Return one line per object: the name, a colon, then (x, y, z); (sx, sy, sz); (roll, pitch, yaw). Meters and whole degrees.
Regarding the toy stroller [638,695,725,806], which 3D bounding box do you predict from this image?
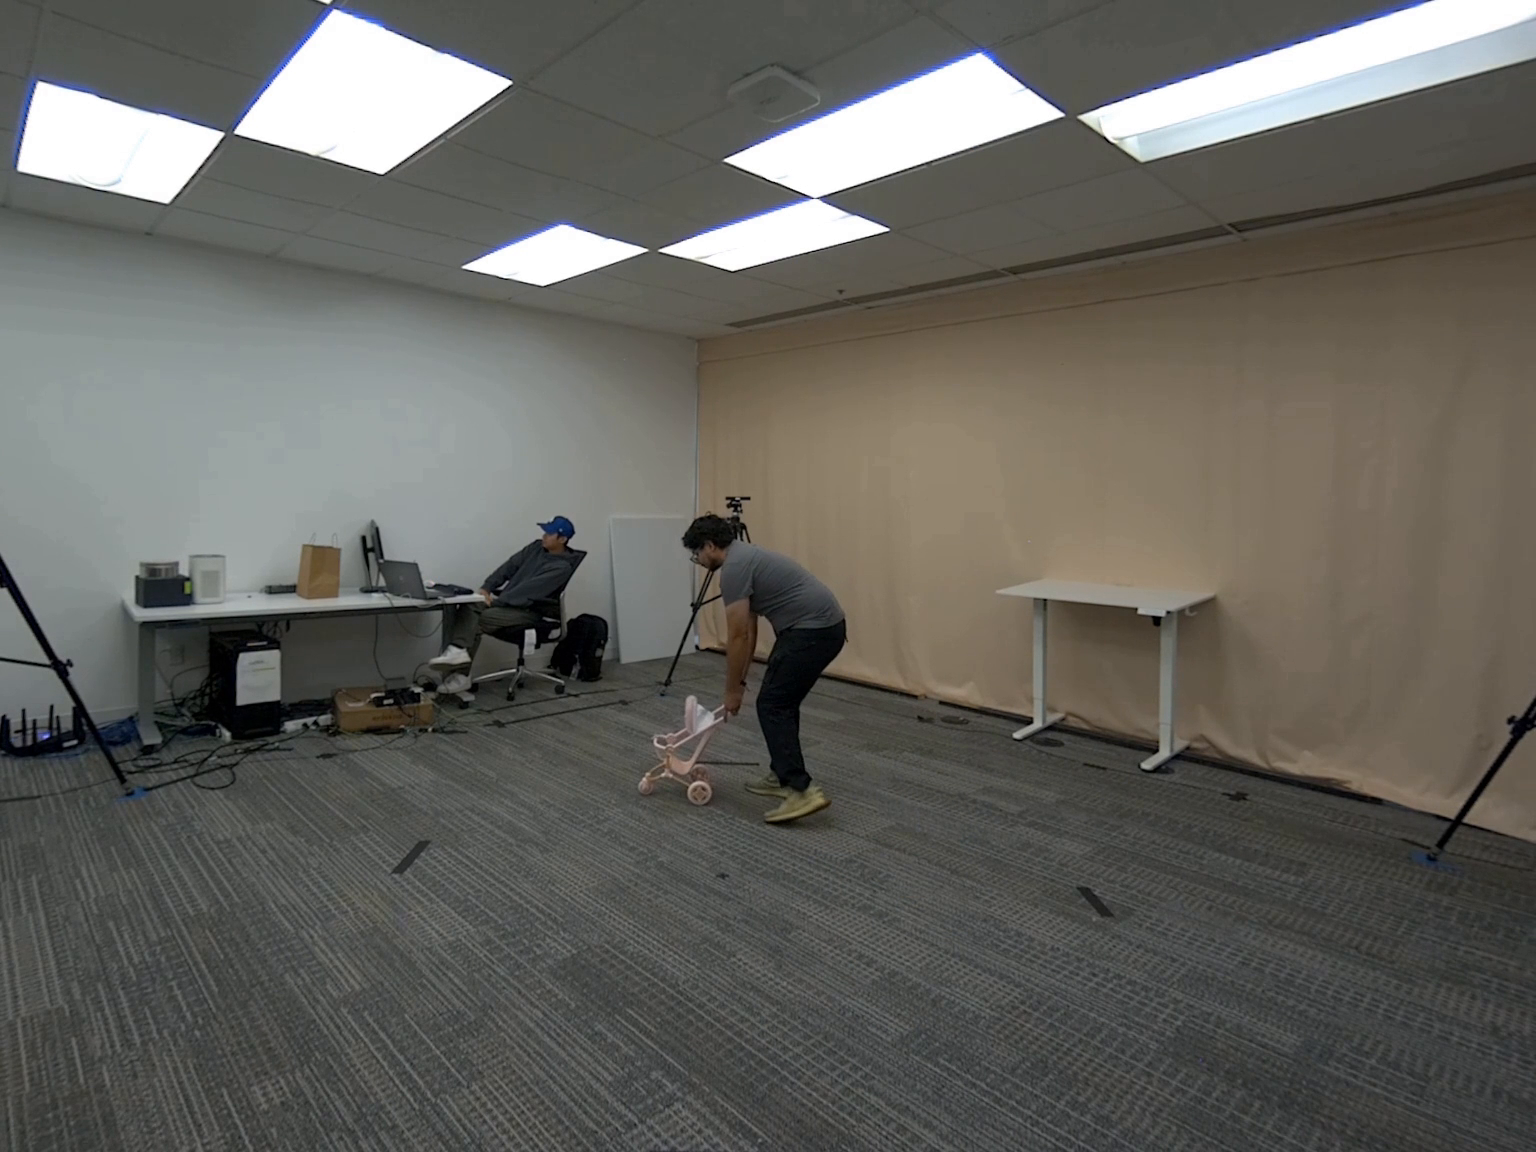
toy stroller: (-0.387, 0.802, 3.940); (0.342, 0.534, 0.281); (17, 3, 1)
